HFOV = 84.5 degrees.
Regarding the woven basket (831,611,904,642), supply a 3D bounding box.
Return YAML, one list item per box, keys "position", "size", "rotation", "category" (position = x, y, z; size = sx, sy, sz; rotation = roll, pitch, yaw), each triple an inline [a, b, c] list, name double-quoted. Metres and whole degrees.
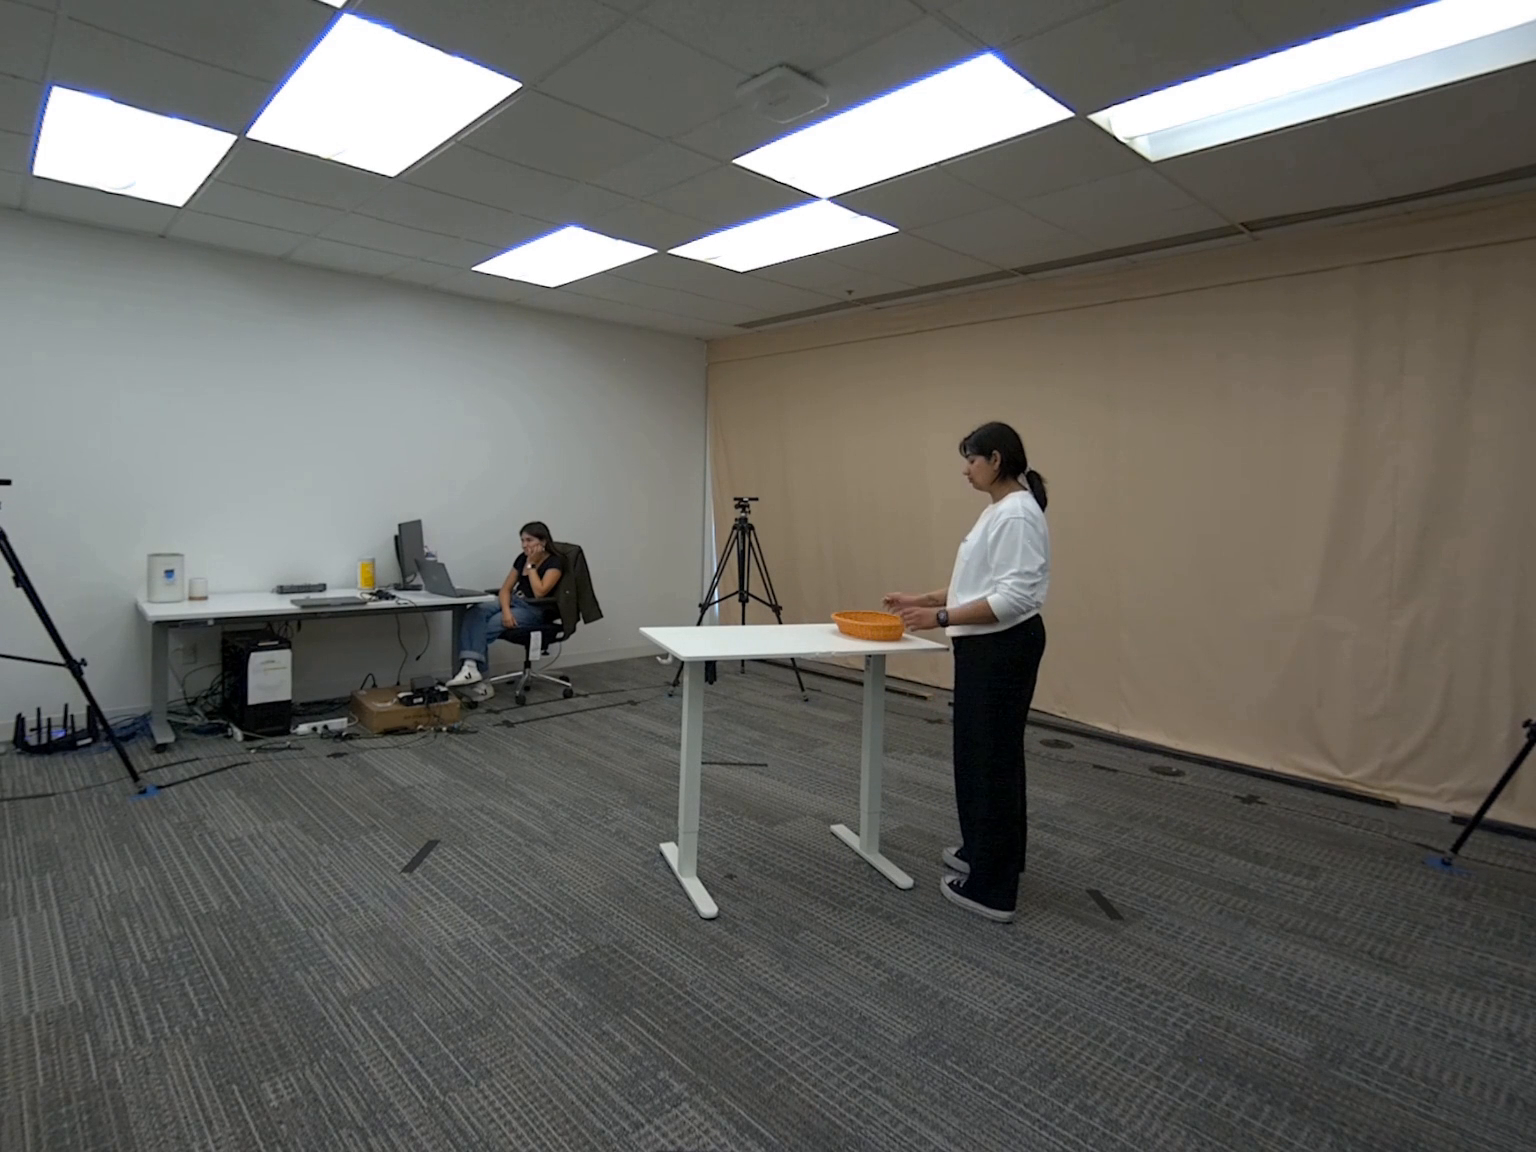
- position: [0.402, 0.197, 3.243]
  size: [0.249, 0.073, 0.356]
  rotation: [-2, 7, -16]
  category: "woven basket"
